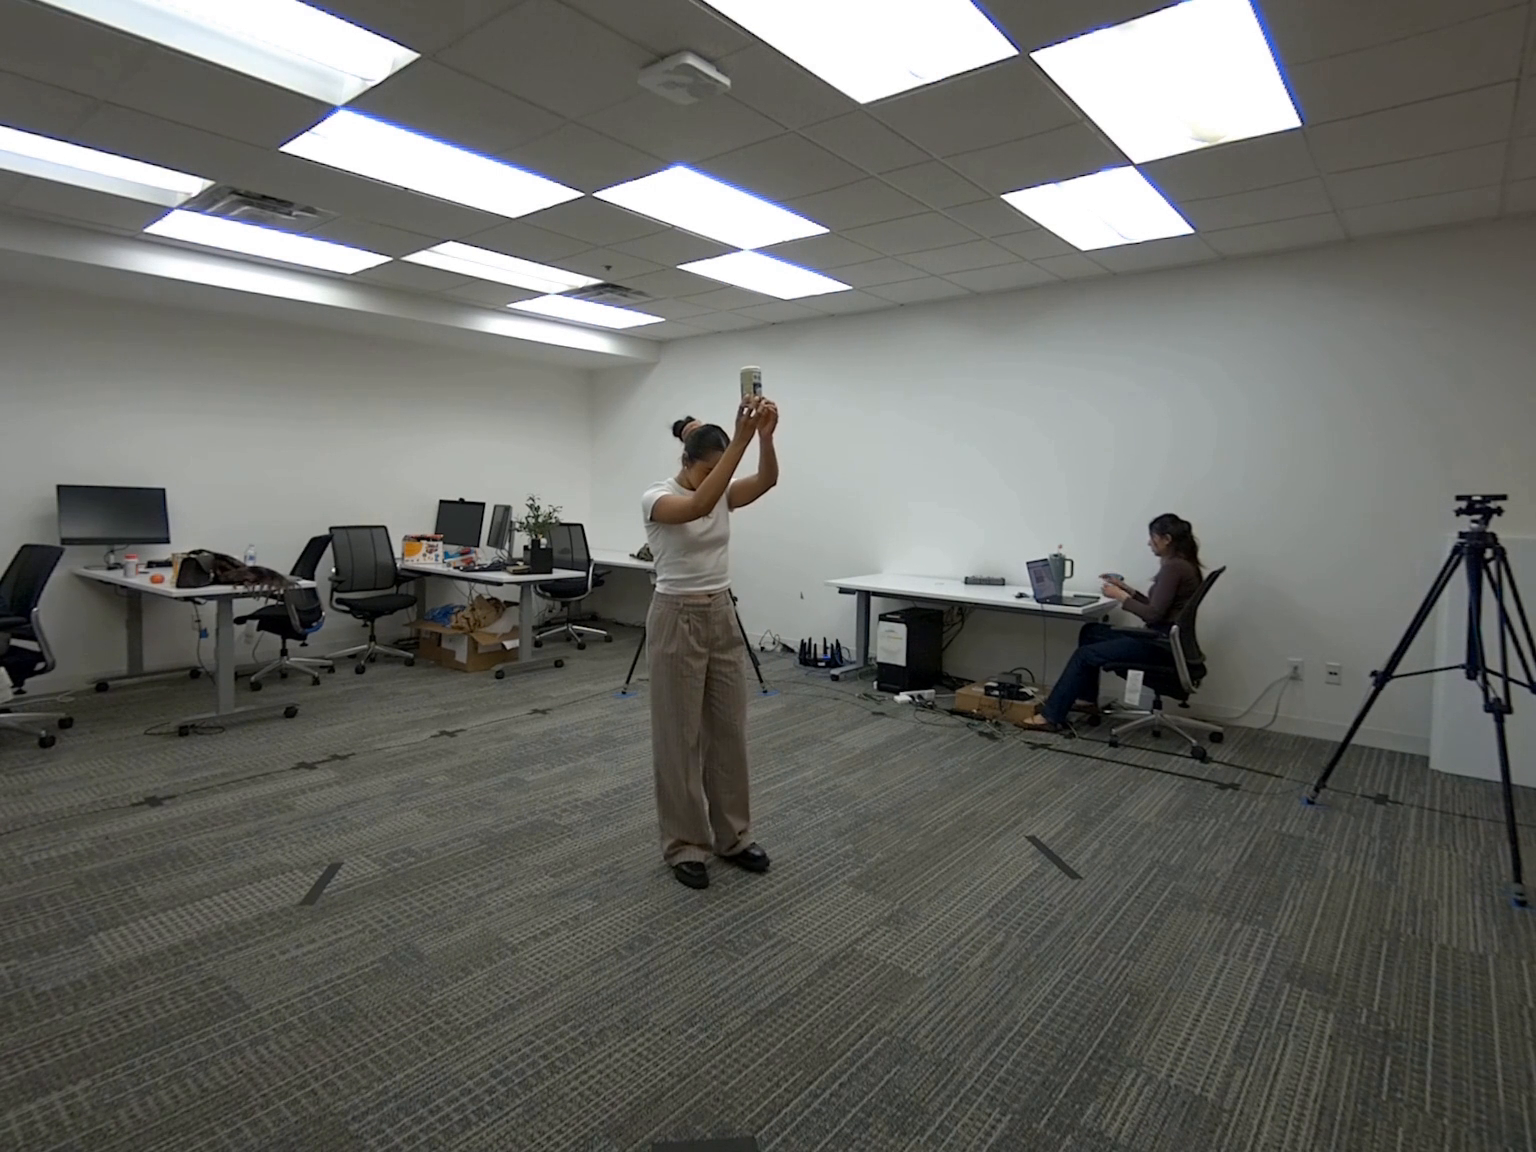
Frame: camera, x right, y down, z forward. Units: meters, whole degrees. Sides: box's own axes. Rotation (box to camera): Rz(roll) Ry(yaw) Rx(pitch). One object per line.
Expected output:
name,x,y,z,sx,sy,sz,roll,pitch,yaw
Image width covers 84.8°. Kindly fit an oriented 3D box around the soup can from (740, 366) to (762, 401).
soup can,-0.062,-0.596,2.659,0.067,0.121,0.067,0,0,-2
